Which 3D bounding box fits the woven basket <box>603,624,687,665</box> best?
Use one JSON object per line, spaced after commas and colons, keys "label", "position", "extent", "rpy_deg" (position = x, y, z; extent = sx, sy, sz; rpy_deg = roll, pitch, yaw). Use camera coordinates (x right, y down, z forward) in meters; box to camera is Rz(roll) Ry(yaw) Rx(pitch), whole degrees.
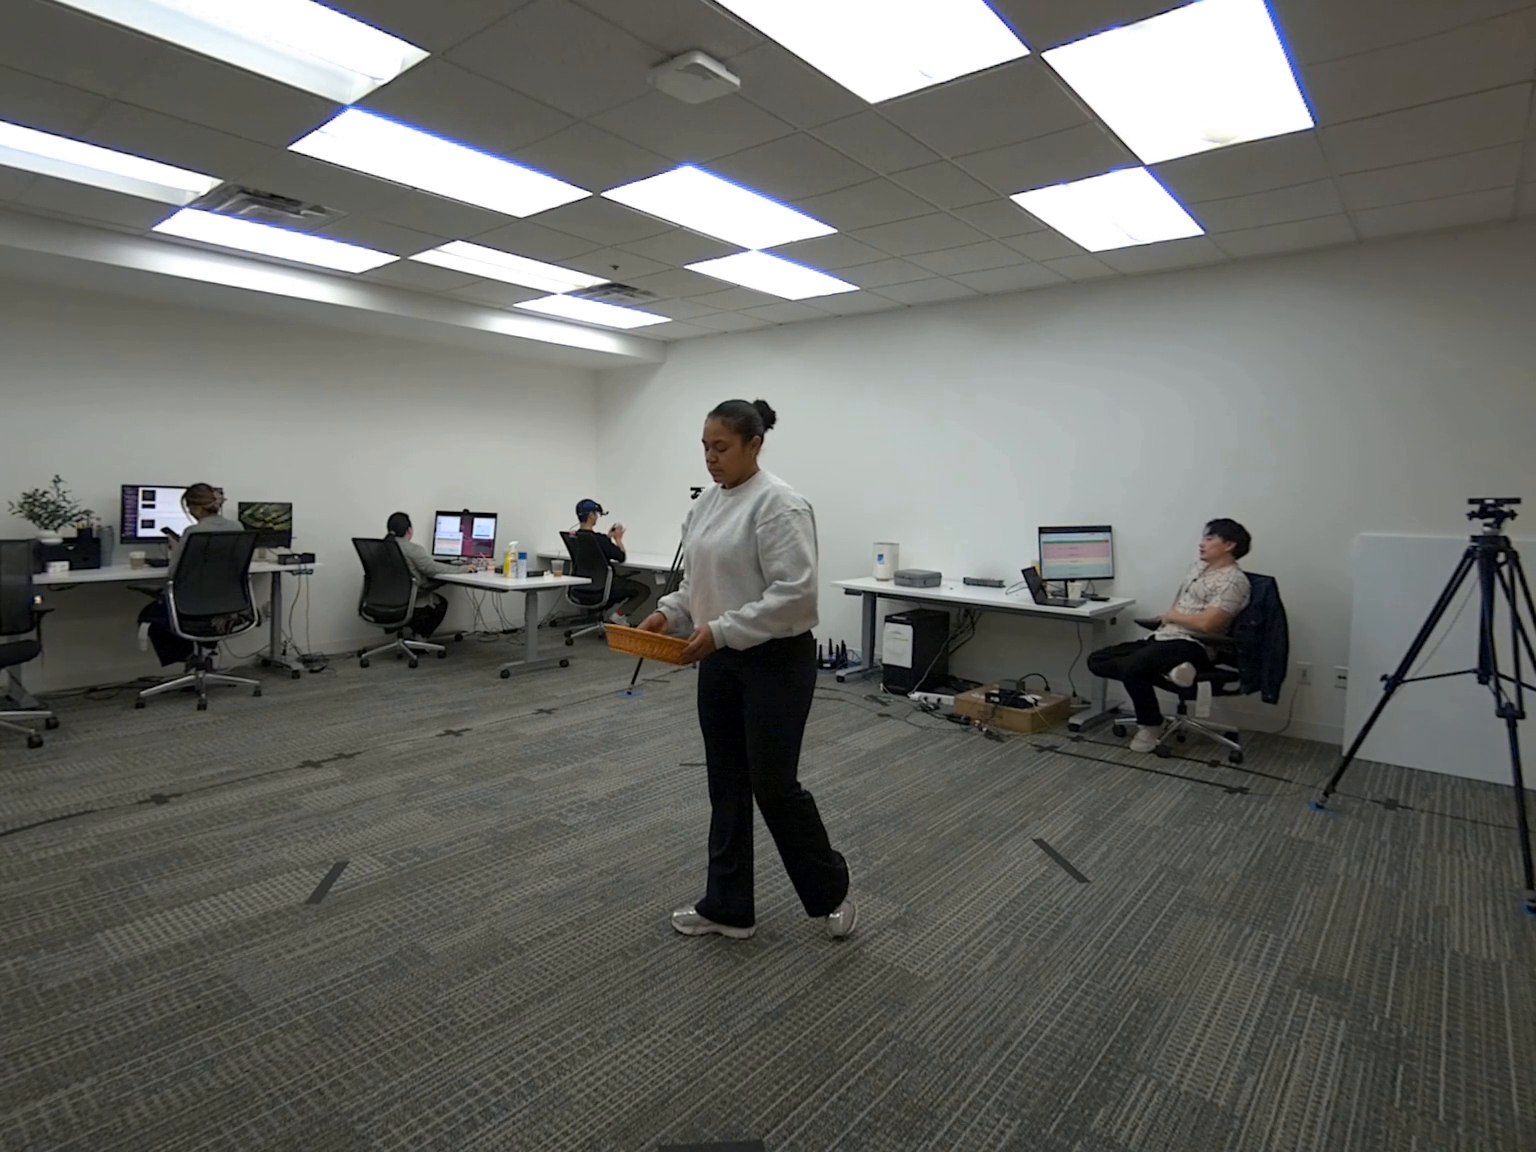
{"label": "woven basket", "position": [-0.333, 0.207, 2.466], "extent": [0.243, 0.074, 0.361], "rpy_deg": [14, -6, -35]}
